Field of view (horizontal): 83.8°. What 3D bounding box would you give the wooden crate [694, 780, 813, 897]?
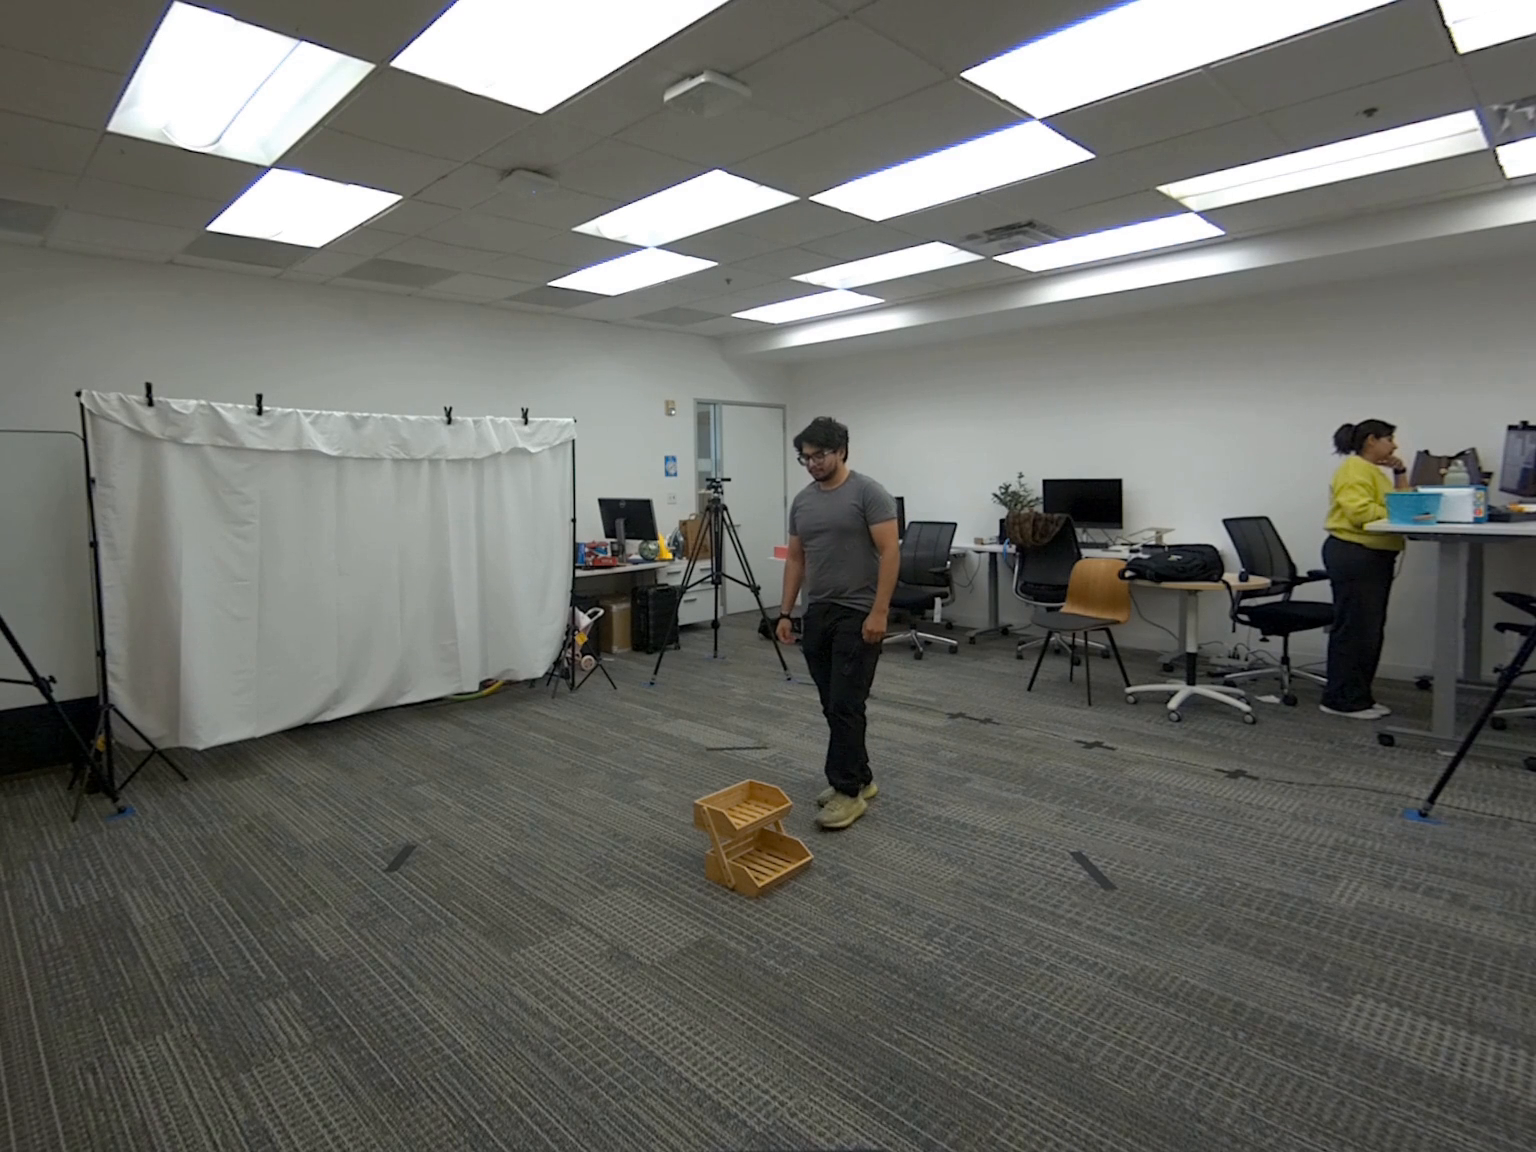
[{"bbox_3d":[-0.045,0.917,3.030,0.311,0.272,0.316,3,7,42],"label":"wooden crate"}]
